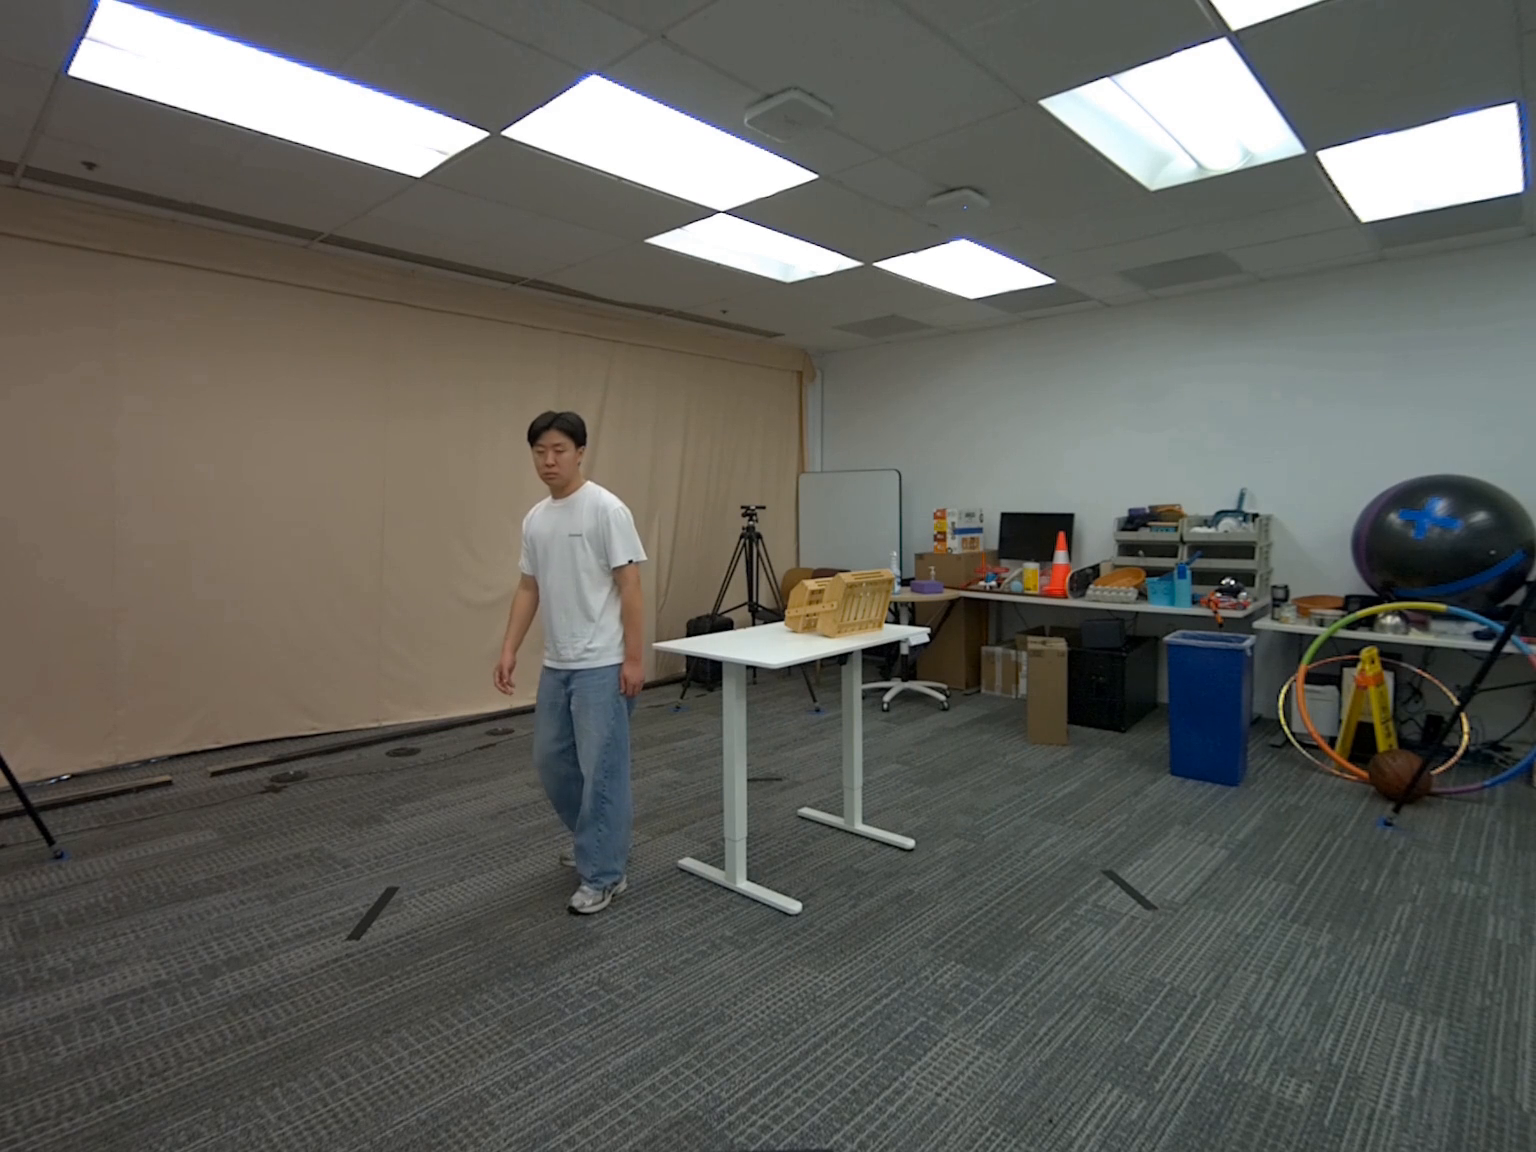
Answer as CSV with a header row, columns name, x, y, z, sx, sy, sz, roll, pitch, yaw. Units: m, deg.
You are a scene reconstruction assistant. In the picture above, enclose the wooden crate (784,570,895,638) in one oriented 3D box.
name,x,y,z,sx,sy,sz,roll,pitch,yaw
wooden crate,0.290,0.096,3.382,0.314,0.300,0.283,-5,23,-45
